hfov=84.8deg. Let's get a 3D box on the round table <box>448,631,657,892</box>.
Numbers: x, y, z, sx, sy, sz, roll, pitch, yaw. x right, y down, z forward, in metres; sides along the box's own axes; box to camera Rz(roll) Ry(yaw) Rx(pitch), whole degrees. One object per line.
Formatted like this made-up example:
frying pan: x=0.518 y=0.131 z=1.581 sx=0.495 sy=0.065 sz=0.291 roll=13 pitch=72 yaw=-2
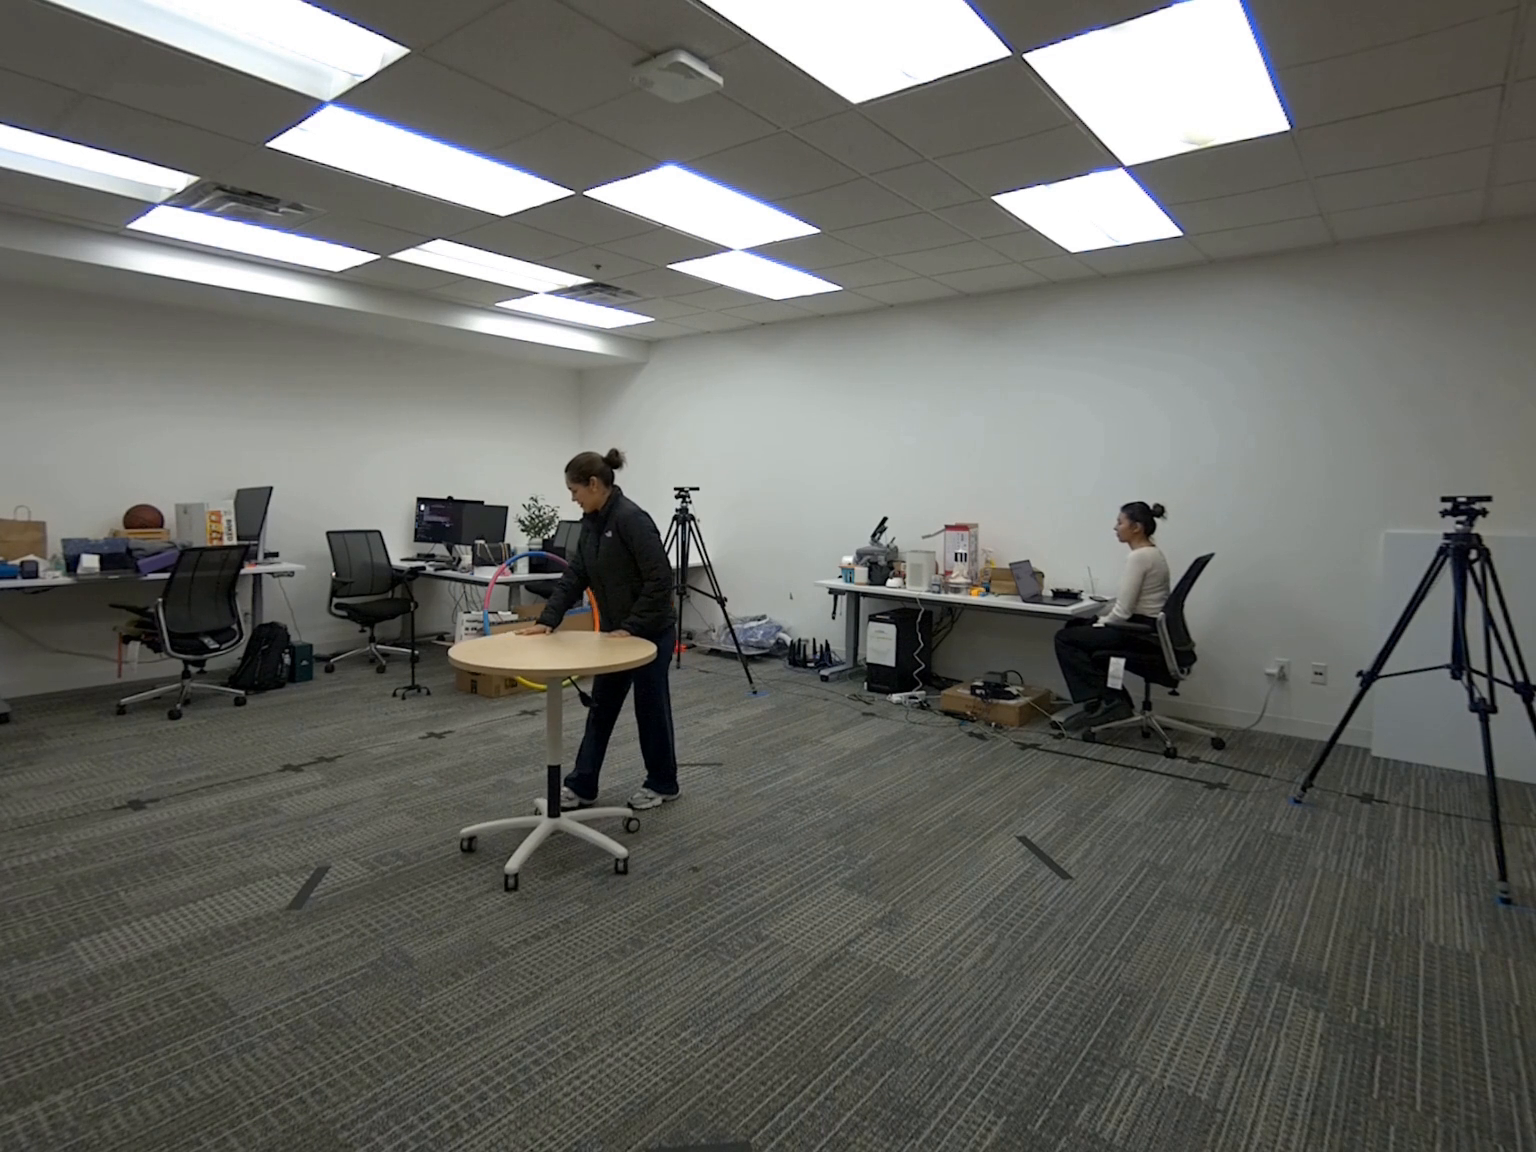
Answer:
round table: x=-0.795 y=0.651 z=3.243 sx=0.784 sy=0.783 sz=0.789 roll=1 pitch=5 yaw=-2
